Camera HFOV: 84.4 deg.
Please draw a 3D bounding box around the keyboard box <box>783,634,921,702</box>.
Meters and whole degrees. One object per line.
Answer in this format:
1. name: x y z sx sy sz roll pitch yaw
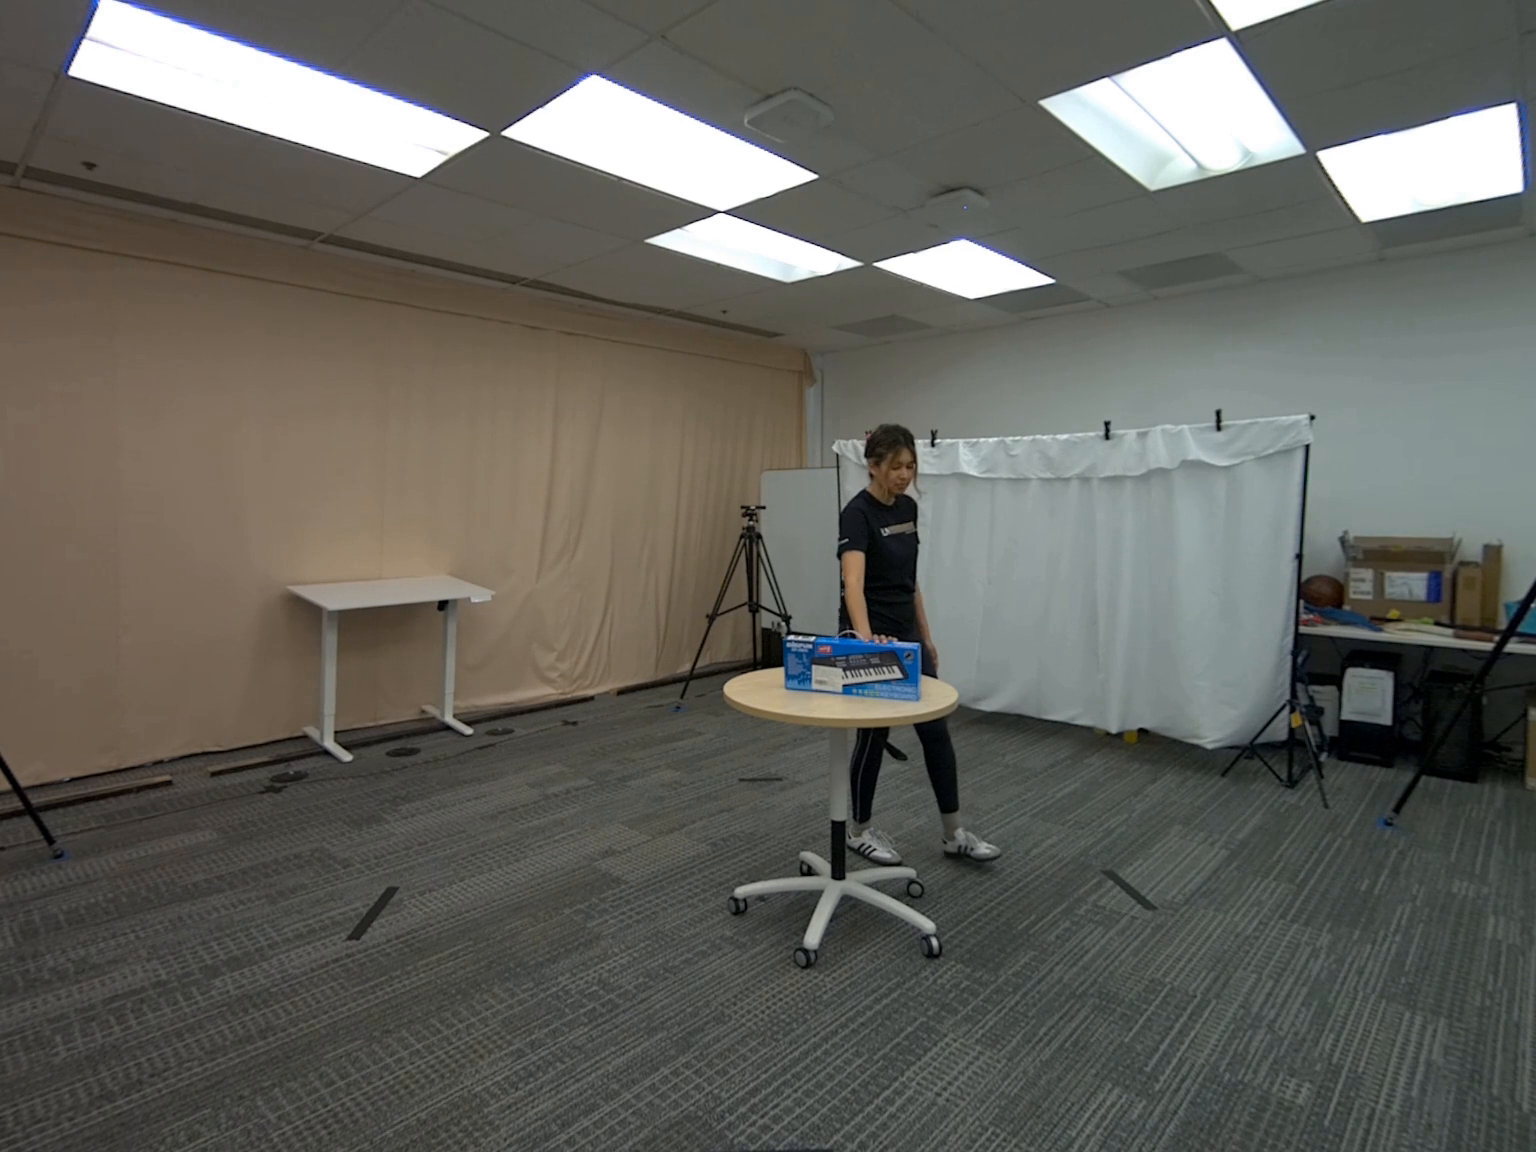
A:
1. keyboard box: 0.272 0.295 2.708 0.447 0.175 0.058 2 11 22
